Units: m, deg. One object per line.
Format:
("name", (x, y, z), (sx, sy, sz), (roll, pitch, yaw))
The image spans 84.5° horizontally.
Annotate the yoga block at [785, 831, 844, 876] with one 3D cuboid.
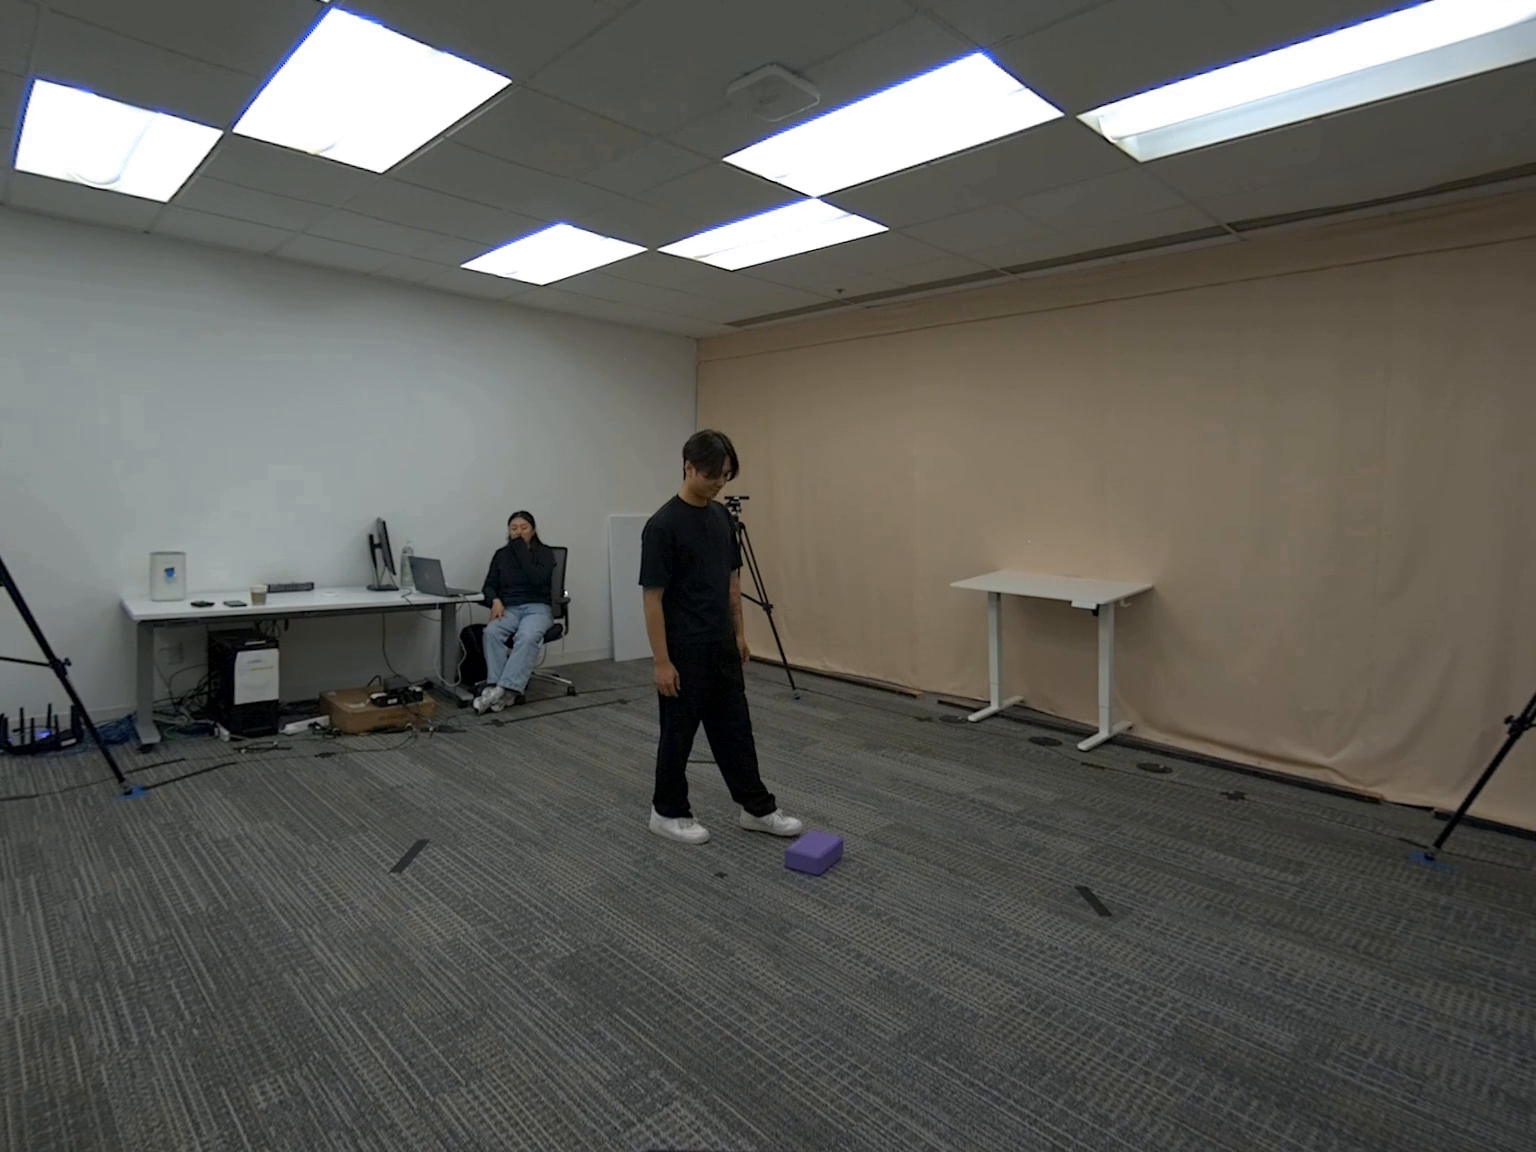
("yoga block", (0.170, 1.061, 3.230), (0.152, 0.076, 0.225), (4, 5, 29))
